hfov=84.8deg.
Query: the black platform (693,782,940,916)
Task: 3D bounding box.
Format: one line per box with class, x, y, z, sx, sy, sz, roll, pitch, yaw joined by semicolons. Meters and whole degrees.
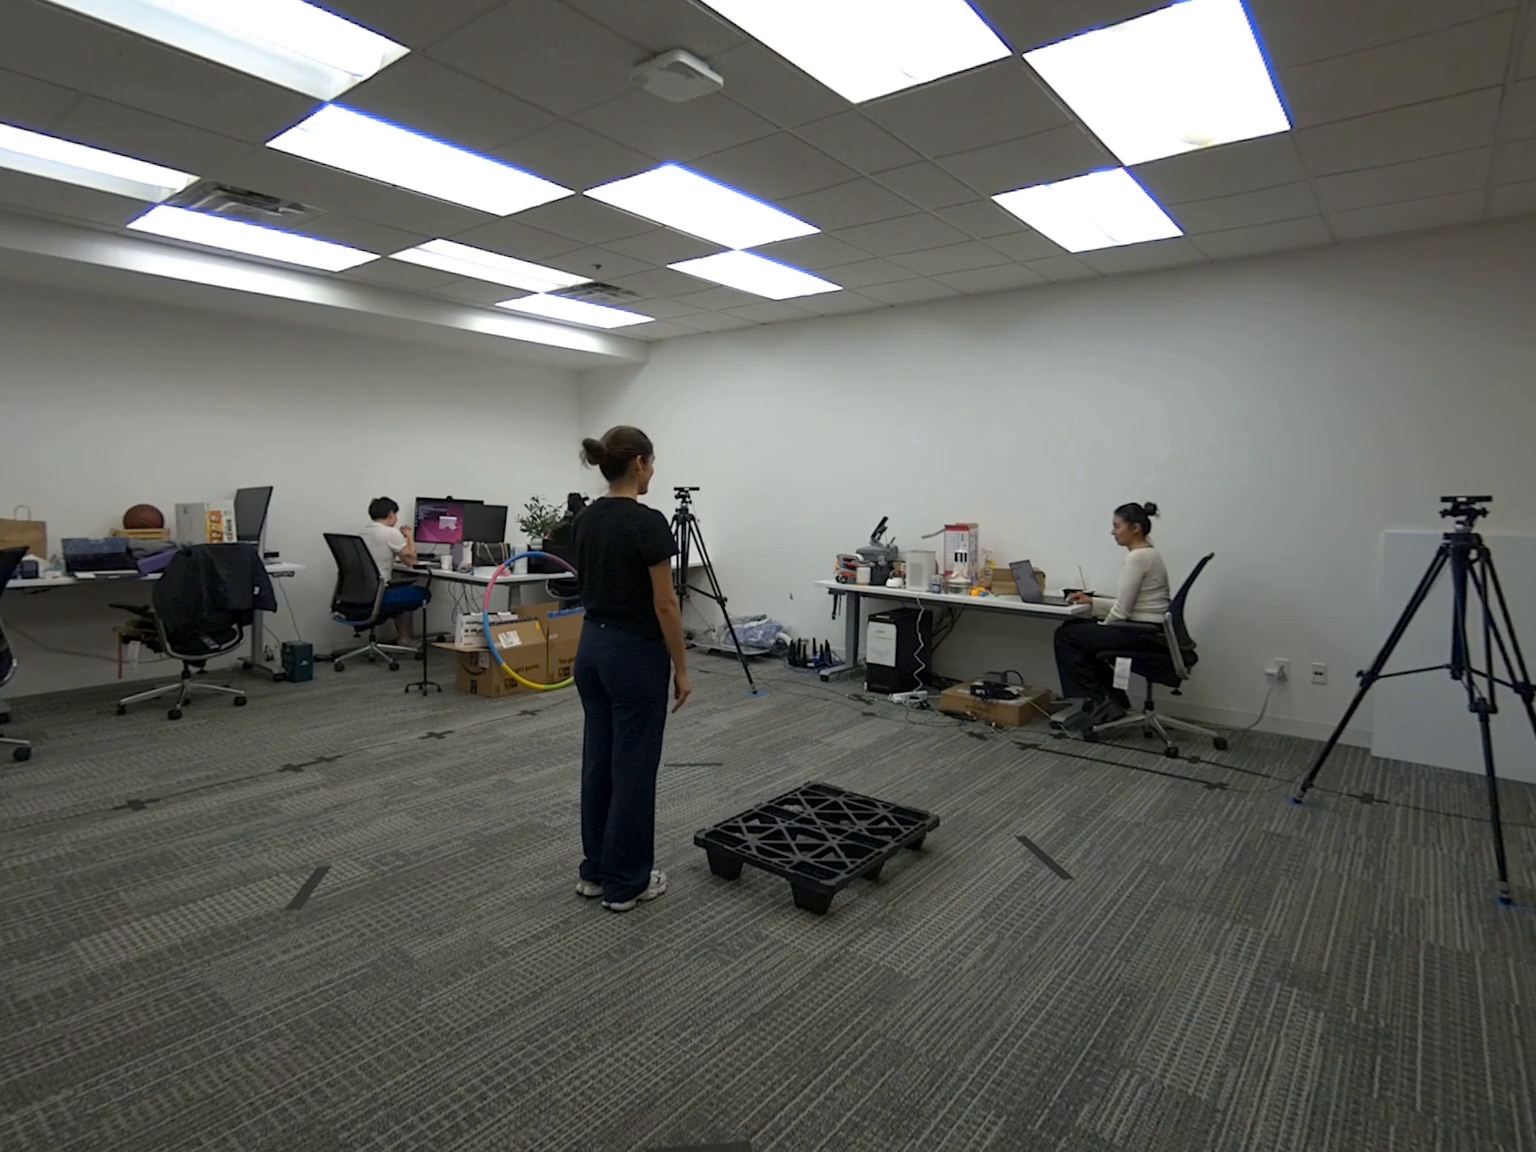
black platform;0.208;0.998;3.207;0.625;0.143;0.782;5;6;38
